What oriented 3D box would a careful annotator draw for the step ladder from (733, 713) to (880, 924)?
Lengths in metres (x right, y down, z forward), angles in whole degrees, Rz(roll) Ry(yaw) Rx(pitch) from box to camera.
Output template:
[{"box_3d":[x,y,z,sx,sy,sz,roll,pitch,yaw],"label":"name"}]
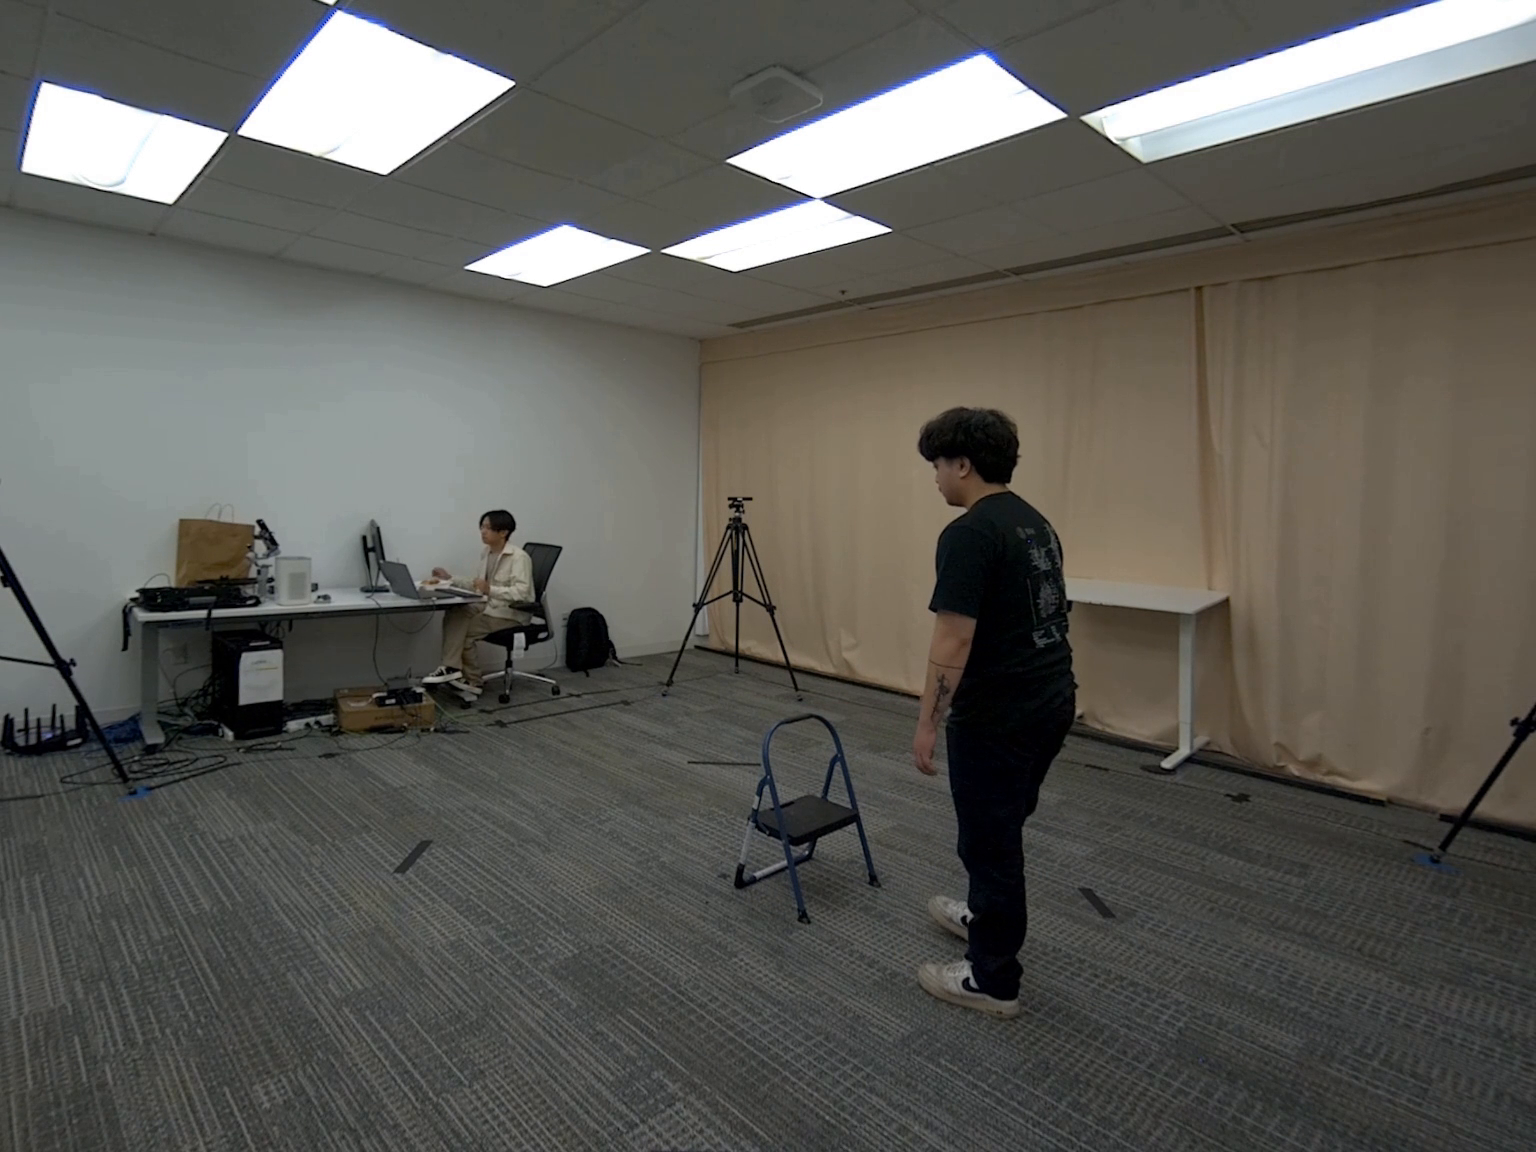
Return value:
[{"box_3d":[0.145,0.818,3.017,0.358,0.604,0.421,5,5,43],"label":"step ladder"}]
